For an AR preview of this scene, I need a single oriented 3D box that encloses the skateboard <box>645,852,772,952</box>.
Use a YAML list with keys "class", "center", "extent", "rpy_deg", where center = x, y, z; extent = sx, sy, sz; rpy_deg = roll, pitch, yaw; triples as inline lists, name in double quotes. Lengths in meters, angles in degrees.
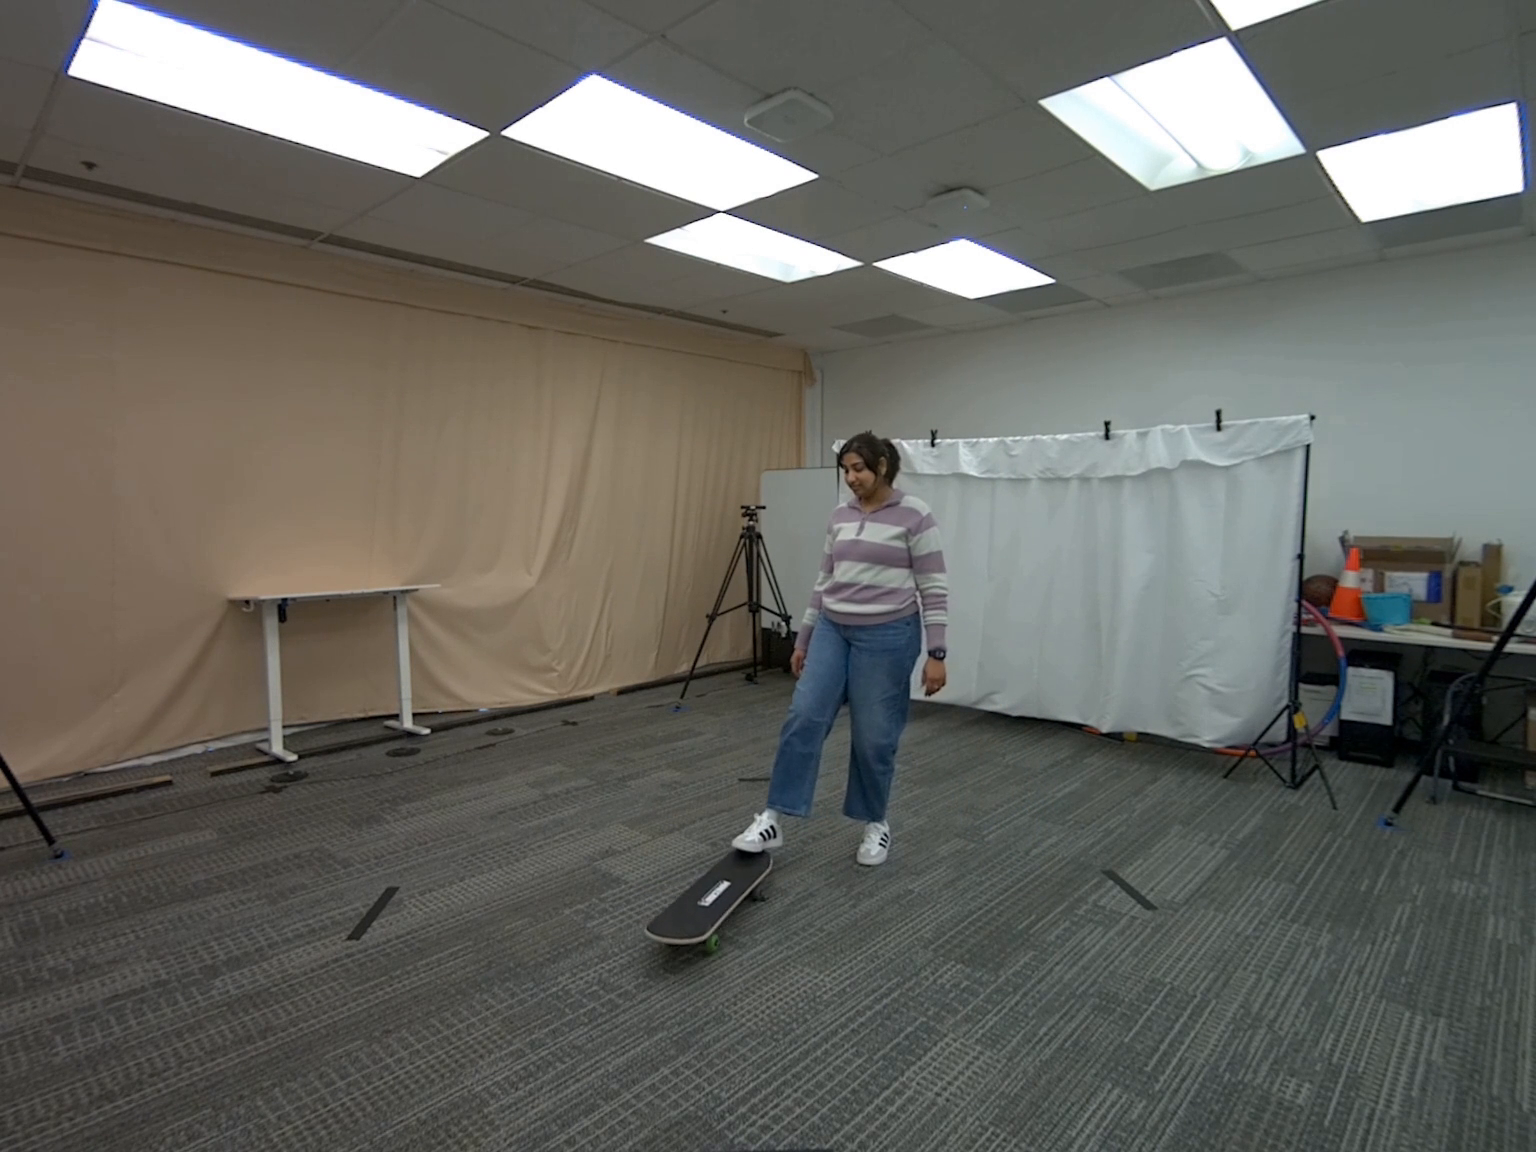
- class: "skateboard"
  center: [-0.175, 1.094, 2.820]
  extent: [0.198, 0.110, 0.768]
  rpy_deg: [0, 2, 21]
